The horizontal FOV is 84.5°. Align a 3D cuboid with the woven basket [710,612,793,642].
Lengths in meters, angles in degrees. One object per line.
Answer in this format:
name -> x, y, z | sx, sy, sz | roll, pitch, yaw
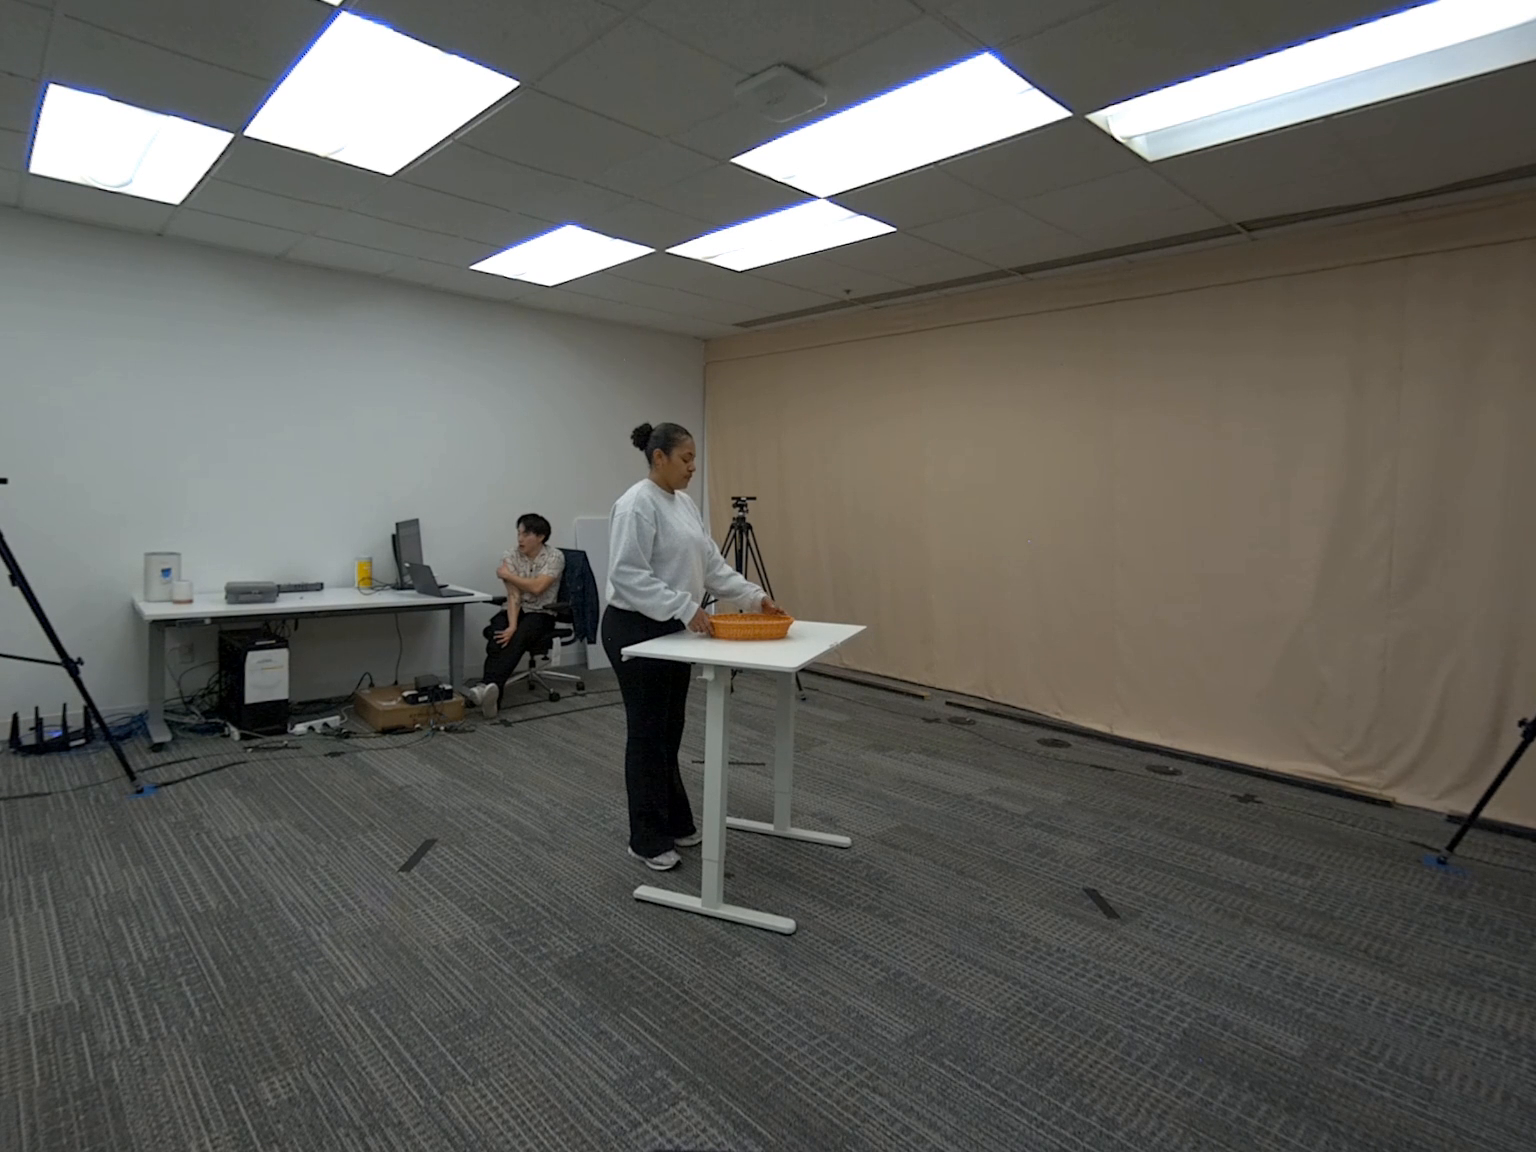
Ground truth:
woven basket -> -0.087, 0.180, 3.105 | 0.345, 0.073, 0.257 | 0, 6, -19
